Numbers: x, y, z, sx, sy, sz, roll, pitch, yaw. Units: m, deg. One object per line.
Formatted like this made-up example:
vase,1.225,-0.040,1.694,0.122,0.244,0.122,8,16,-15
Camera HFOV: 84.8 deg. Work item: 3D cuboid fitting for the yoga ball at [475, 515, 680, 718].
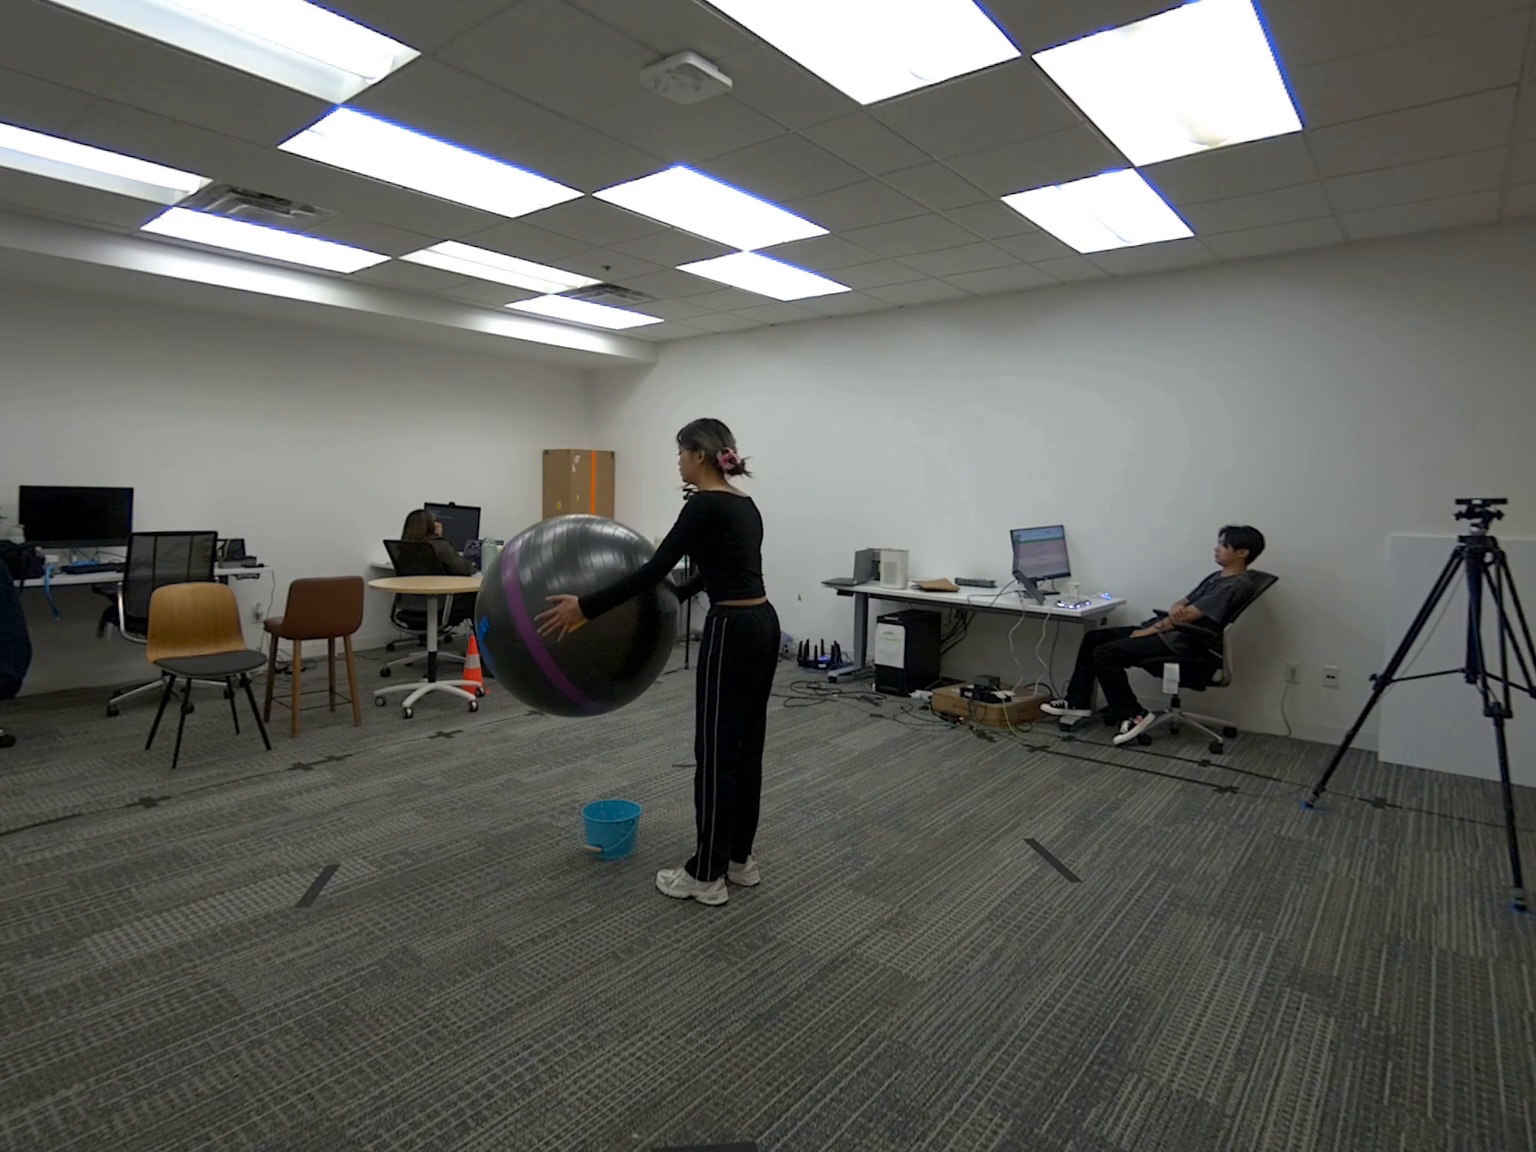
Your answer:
yoga ball,-0.729,0.150,3.198,0.757,0.755,0.762,1,4,-2
